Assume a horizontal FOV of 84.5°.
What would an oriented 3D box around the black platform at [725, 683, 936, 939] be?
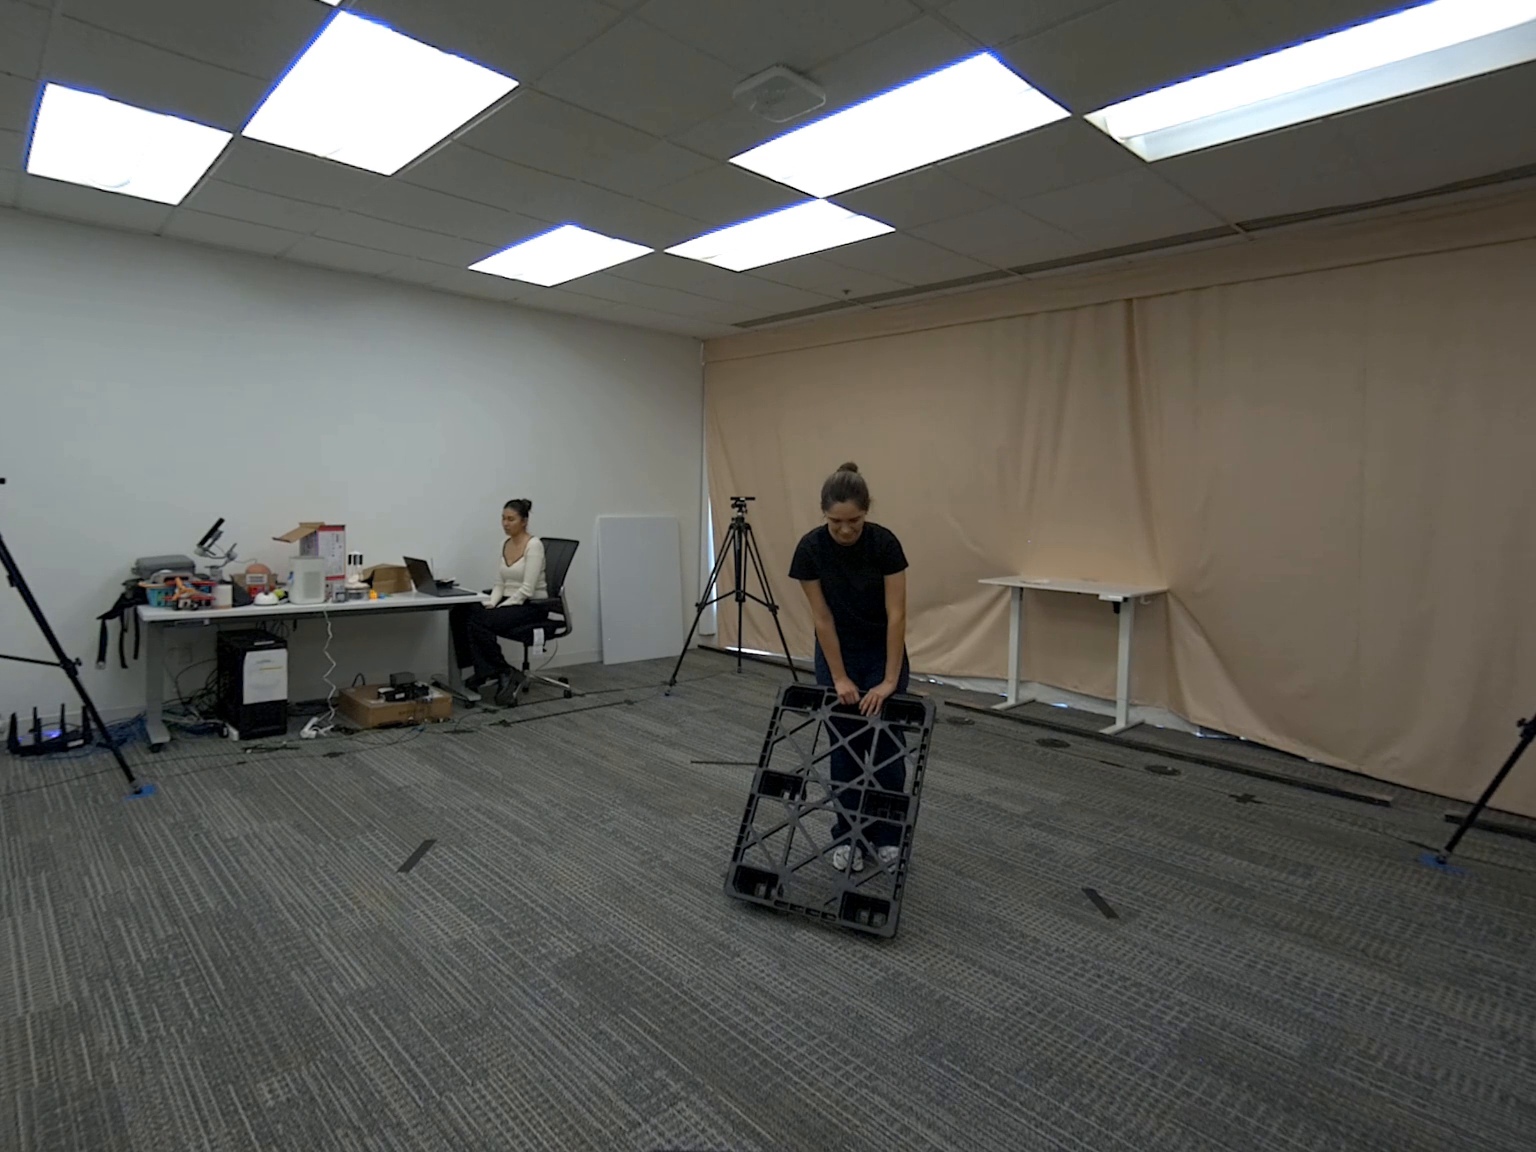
[{"bbox_3d":[0.233,0.800,2.954,0.617,0.815,0.139,2,-32,26],"label":"black platform"}]
